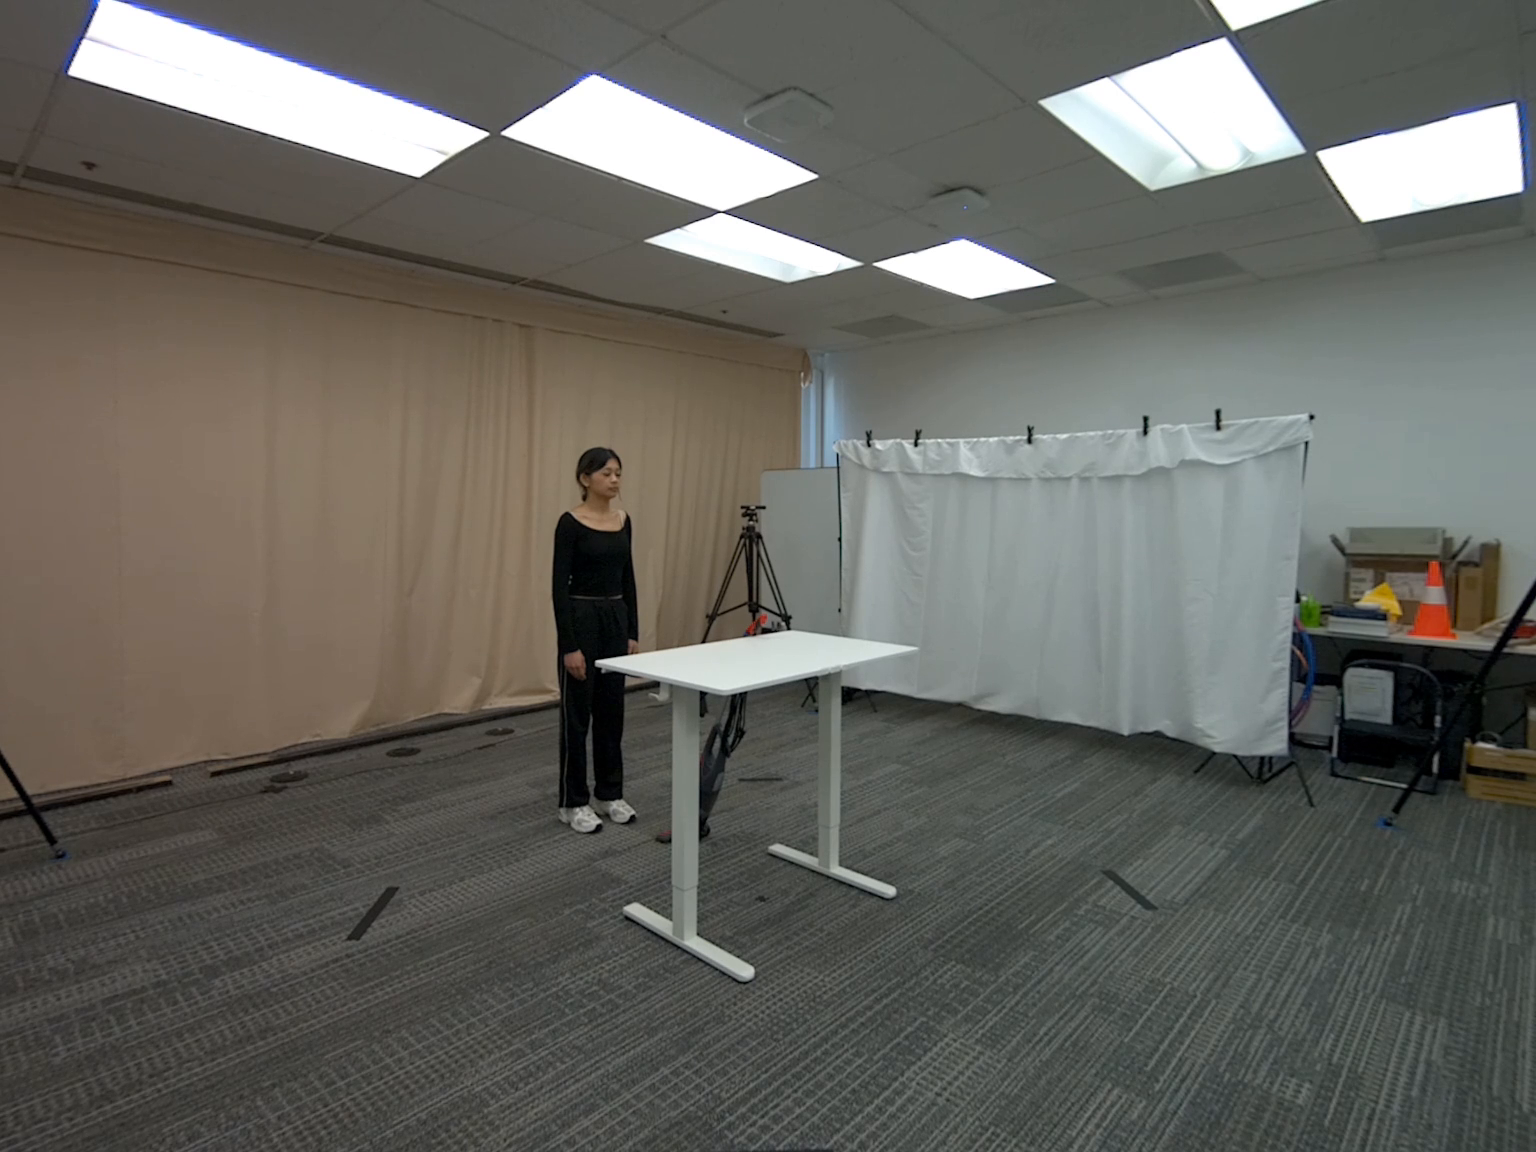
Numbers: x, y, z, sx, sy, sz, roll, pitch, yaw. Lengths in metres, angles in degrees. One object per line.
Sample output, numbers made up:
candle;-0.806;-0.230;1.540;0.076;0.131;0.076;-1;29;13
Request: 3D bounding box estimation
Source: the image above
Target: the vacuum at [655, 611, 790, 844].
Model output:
vacuum;-0.177;0.630;3.398;0.149;1.045;0.244;33;22;36
